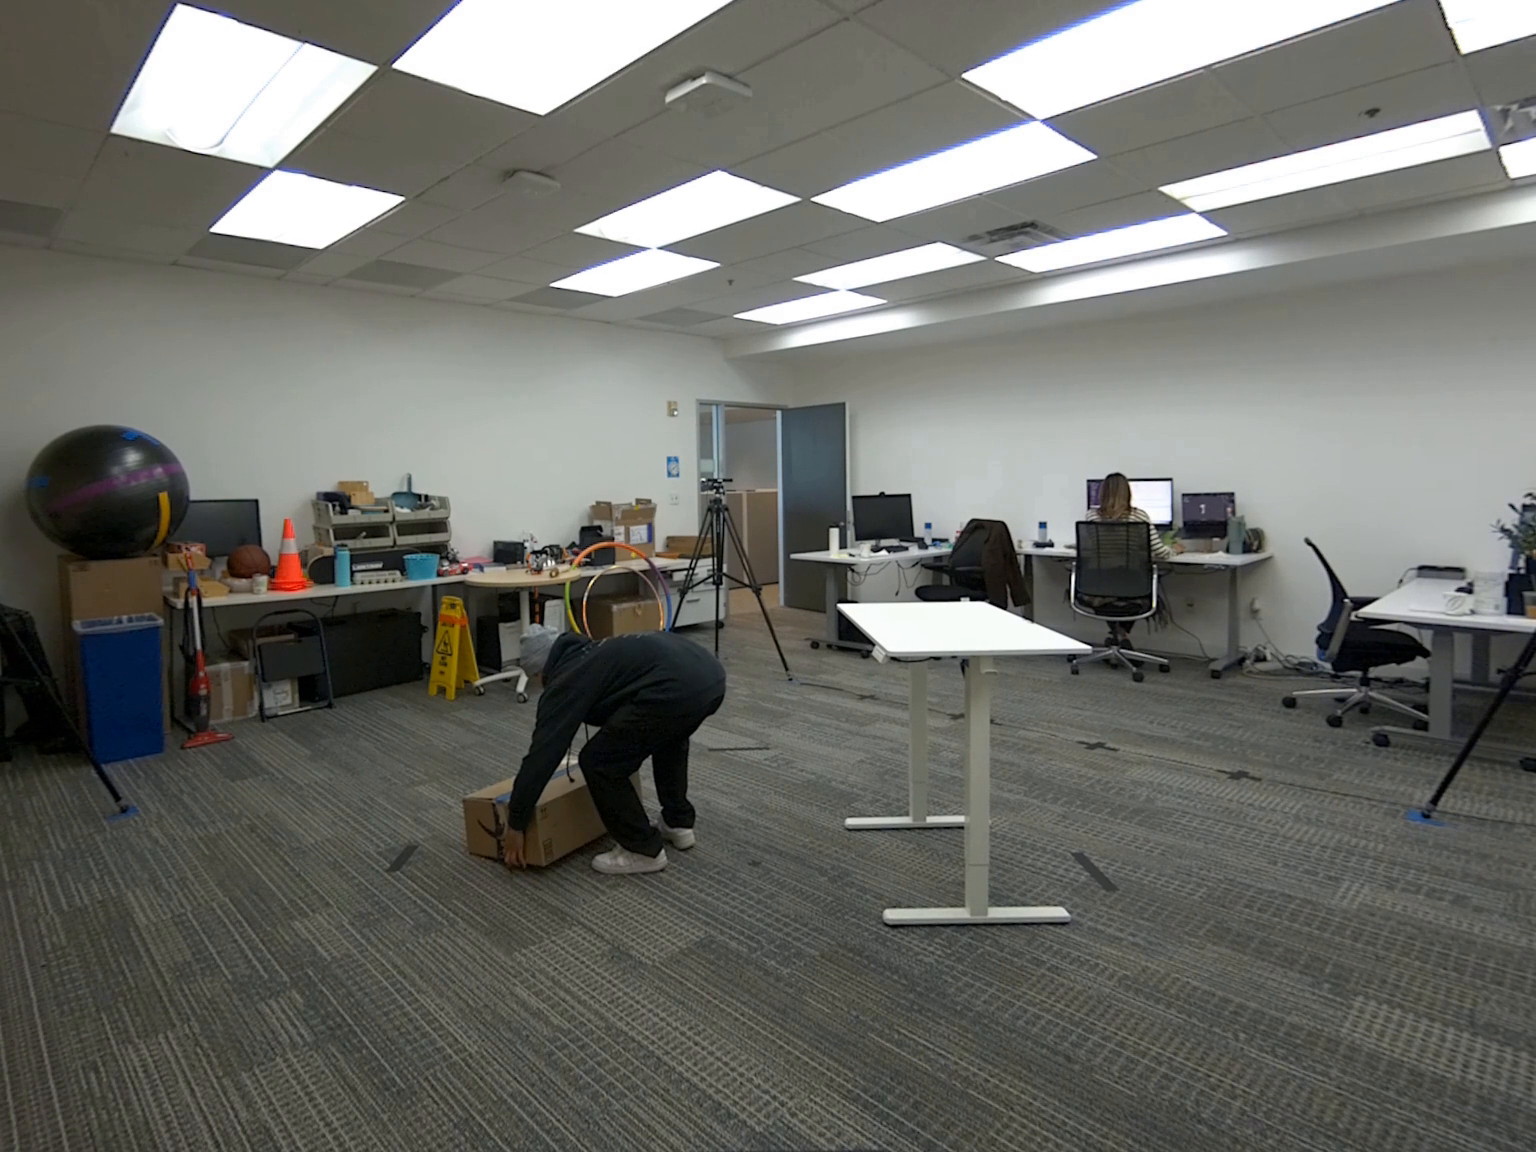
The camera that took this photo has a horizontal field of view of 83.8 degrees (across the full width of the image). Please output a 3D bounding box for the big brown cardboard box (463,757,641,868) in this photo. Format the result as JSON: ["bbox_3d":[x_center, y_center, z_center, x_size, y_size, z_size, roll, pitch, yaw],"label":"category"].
[{"bbox_3d":[-0.835,0.906,3.364,0.427,0.233,0.576,-6,4,33],"label":"big brown cardboard box"}]
